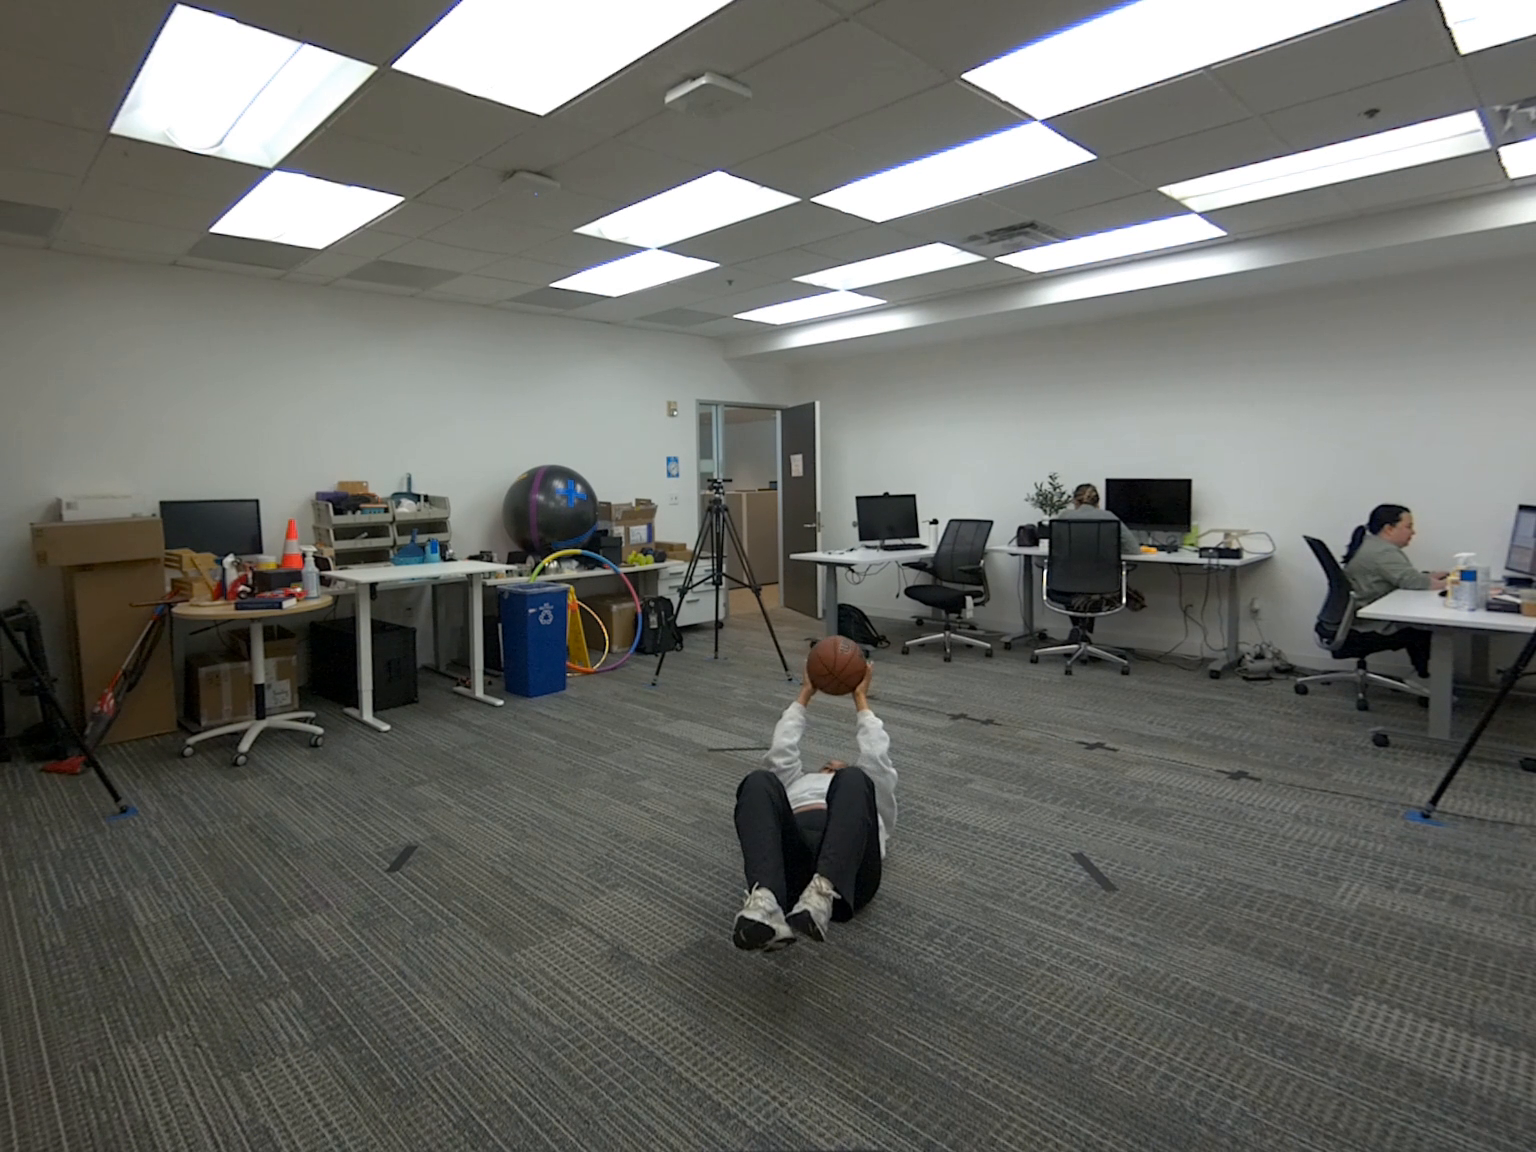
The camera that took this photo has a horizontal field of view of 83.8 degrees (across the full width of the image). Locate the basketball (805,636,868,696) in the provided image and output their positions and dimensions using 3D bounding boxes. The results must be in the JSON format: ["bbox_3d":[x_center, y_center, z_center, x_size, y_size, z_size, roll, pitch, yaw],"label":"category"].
[{"bbox_3d":[0.282,0.368,3.435,0.236,0.235,0.237,-1,4,-2],"label":"basketball"}]
